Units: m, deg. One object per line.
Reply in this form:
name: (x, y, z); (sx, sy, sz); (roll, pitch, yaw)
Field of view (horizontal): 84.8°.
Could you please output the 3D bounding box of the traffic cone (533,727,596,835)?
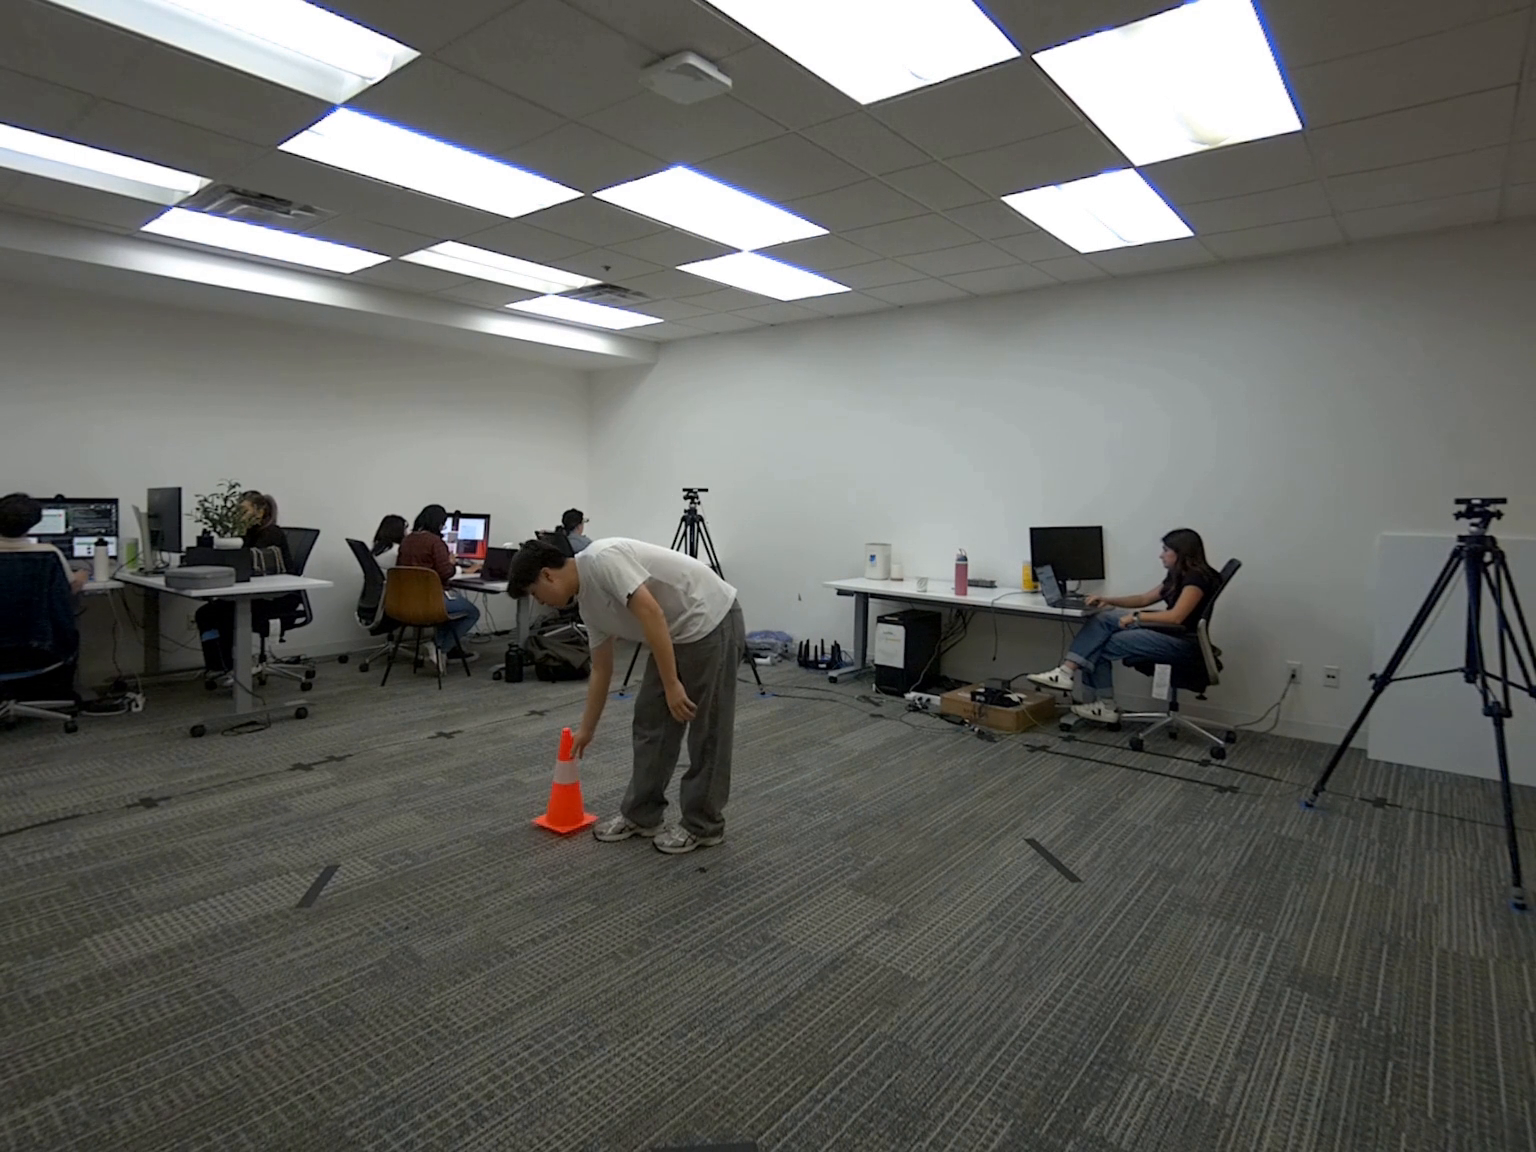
traffic cone: (-0.825, 0.793, 3.476); (0.212, 0.382, 0.197); (7, 7, 37)
